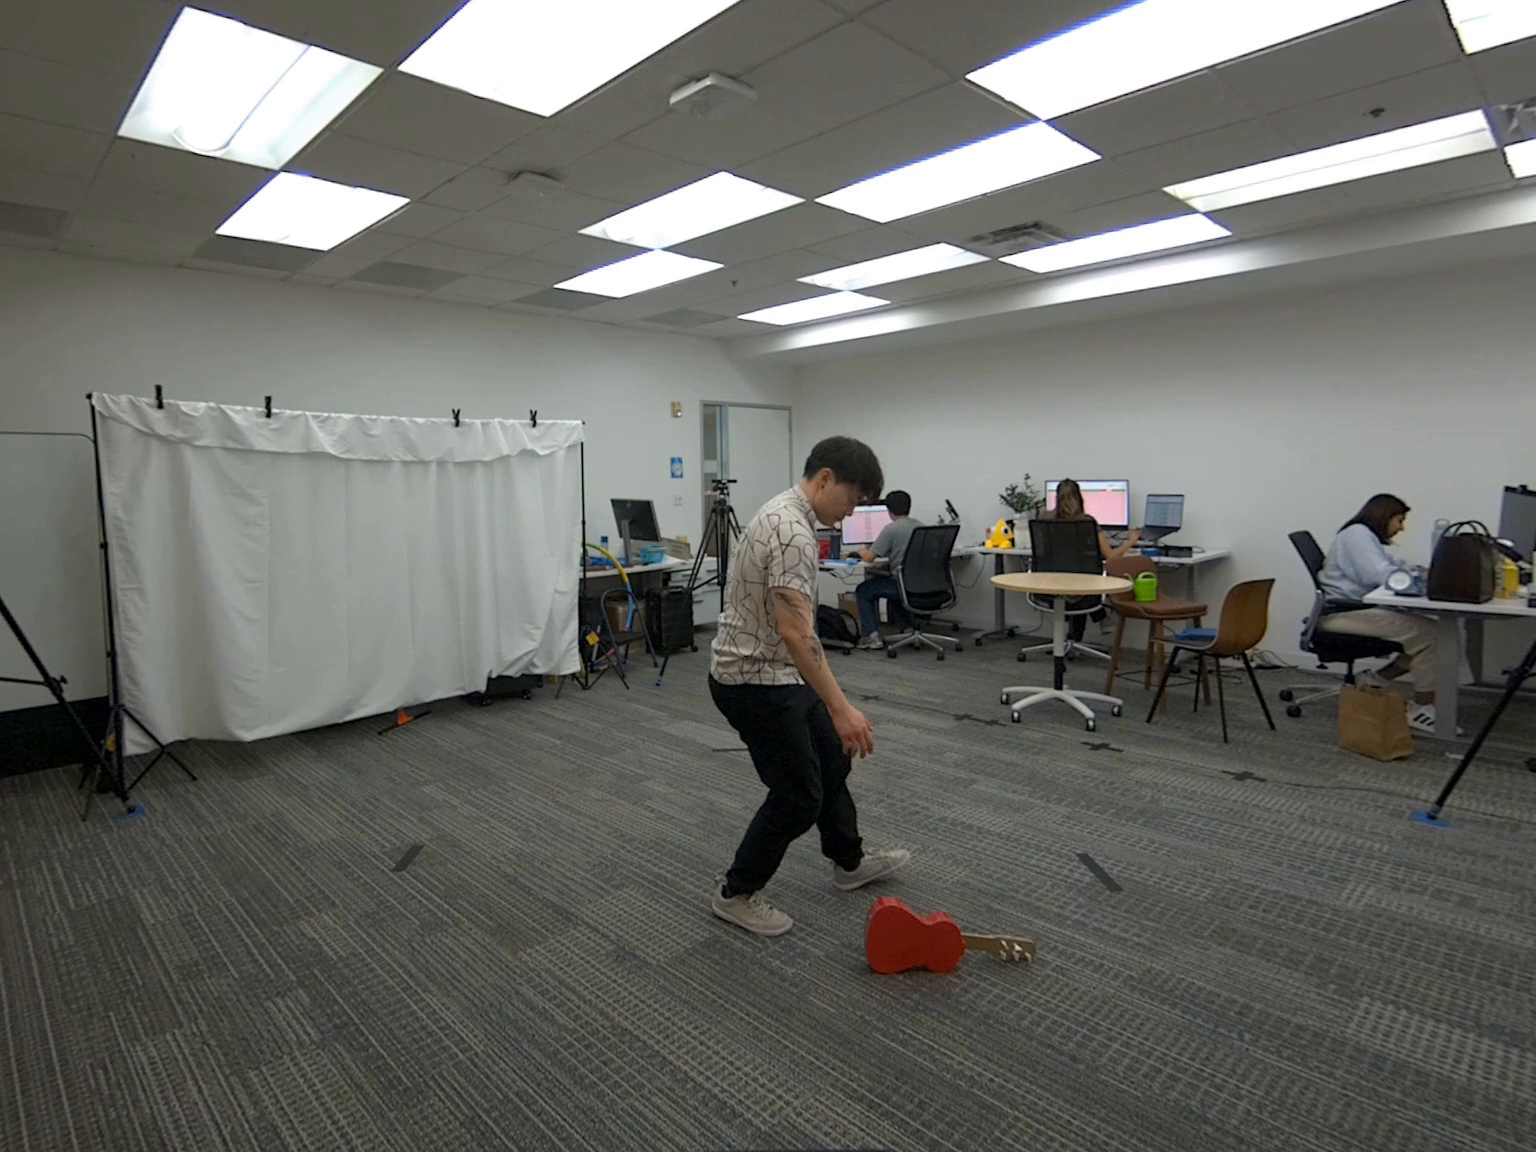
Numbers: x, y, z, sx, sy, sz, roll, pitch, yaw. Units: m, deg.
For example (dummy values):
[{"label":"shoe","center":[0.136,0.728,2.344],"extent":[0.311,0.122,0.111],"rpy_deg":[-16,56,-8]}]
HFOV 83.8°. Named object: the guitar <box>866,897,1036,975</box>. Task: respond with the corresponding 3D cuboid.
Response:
[{"label":"guitar","center":[0.534,1.026,2.426],"extent":[0.498,0.193,0.070],"rpy_deg":[0,-2,0]}]
